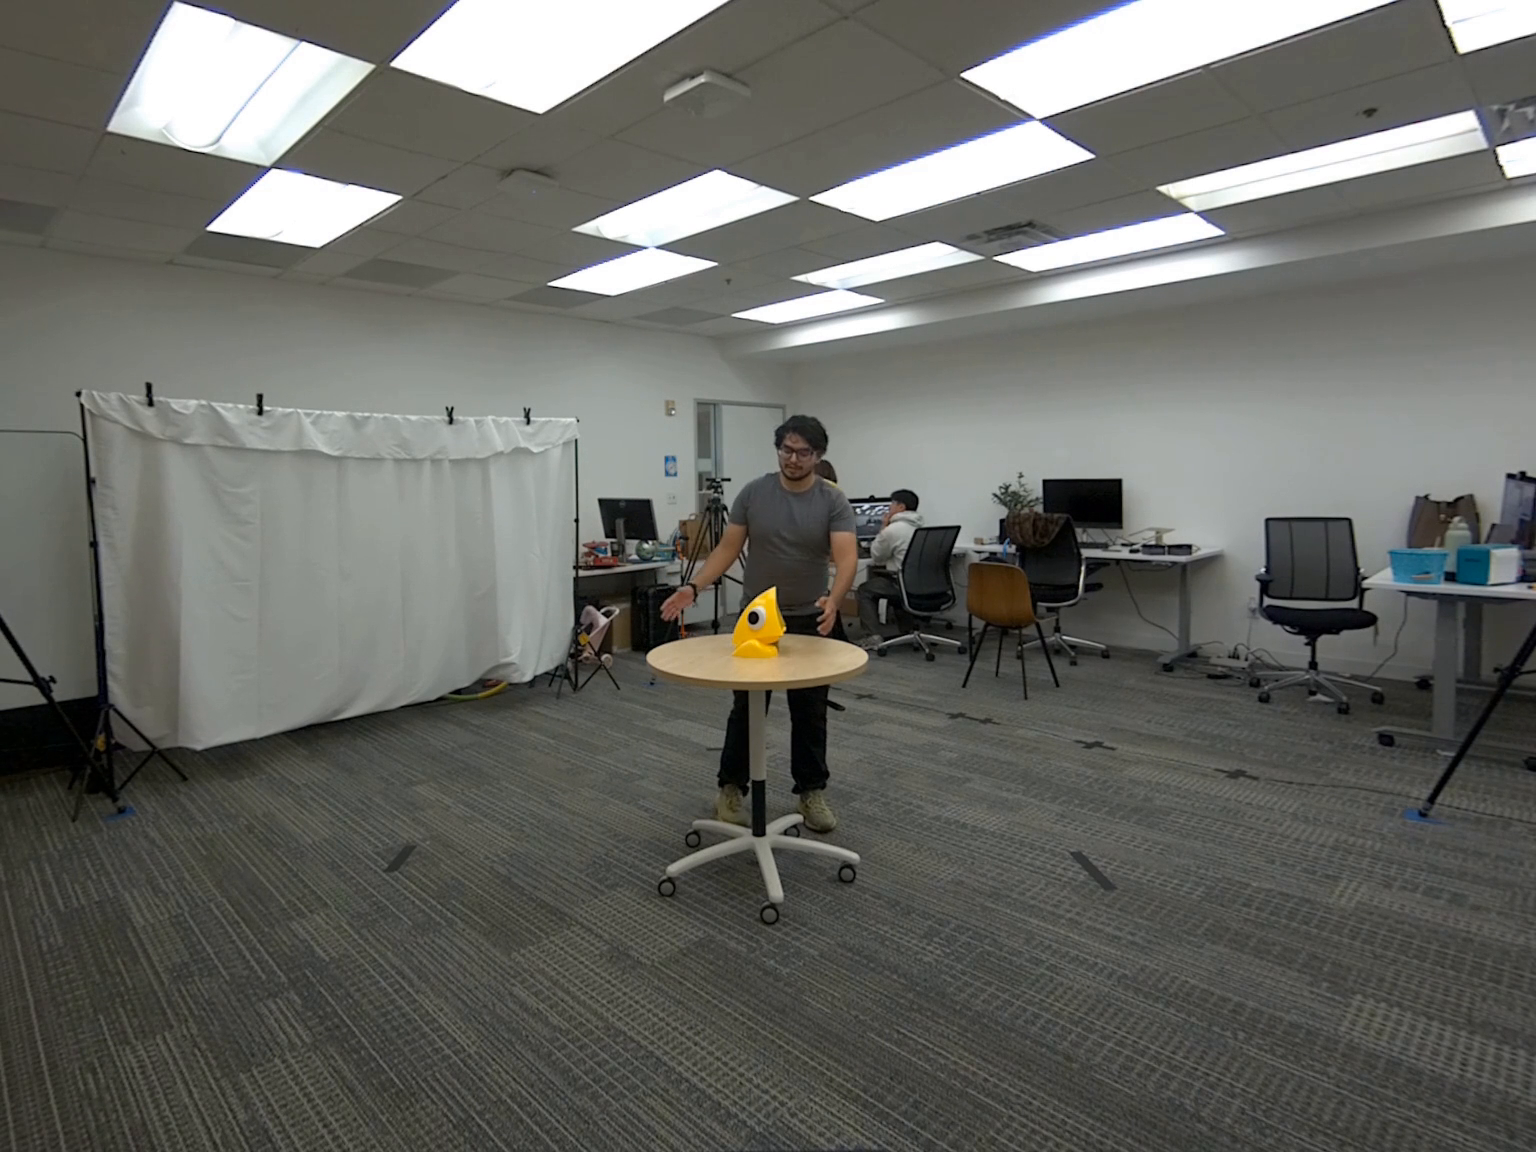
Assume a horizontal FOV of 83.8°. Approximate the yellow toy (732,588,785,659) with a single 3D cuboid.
[{"bbox_3d":[-0.029,0.153,3.007,0.194,0.230,0.204,0,5,6],"label":"yellow toy"}]
